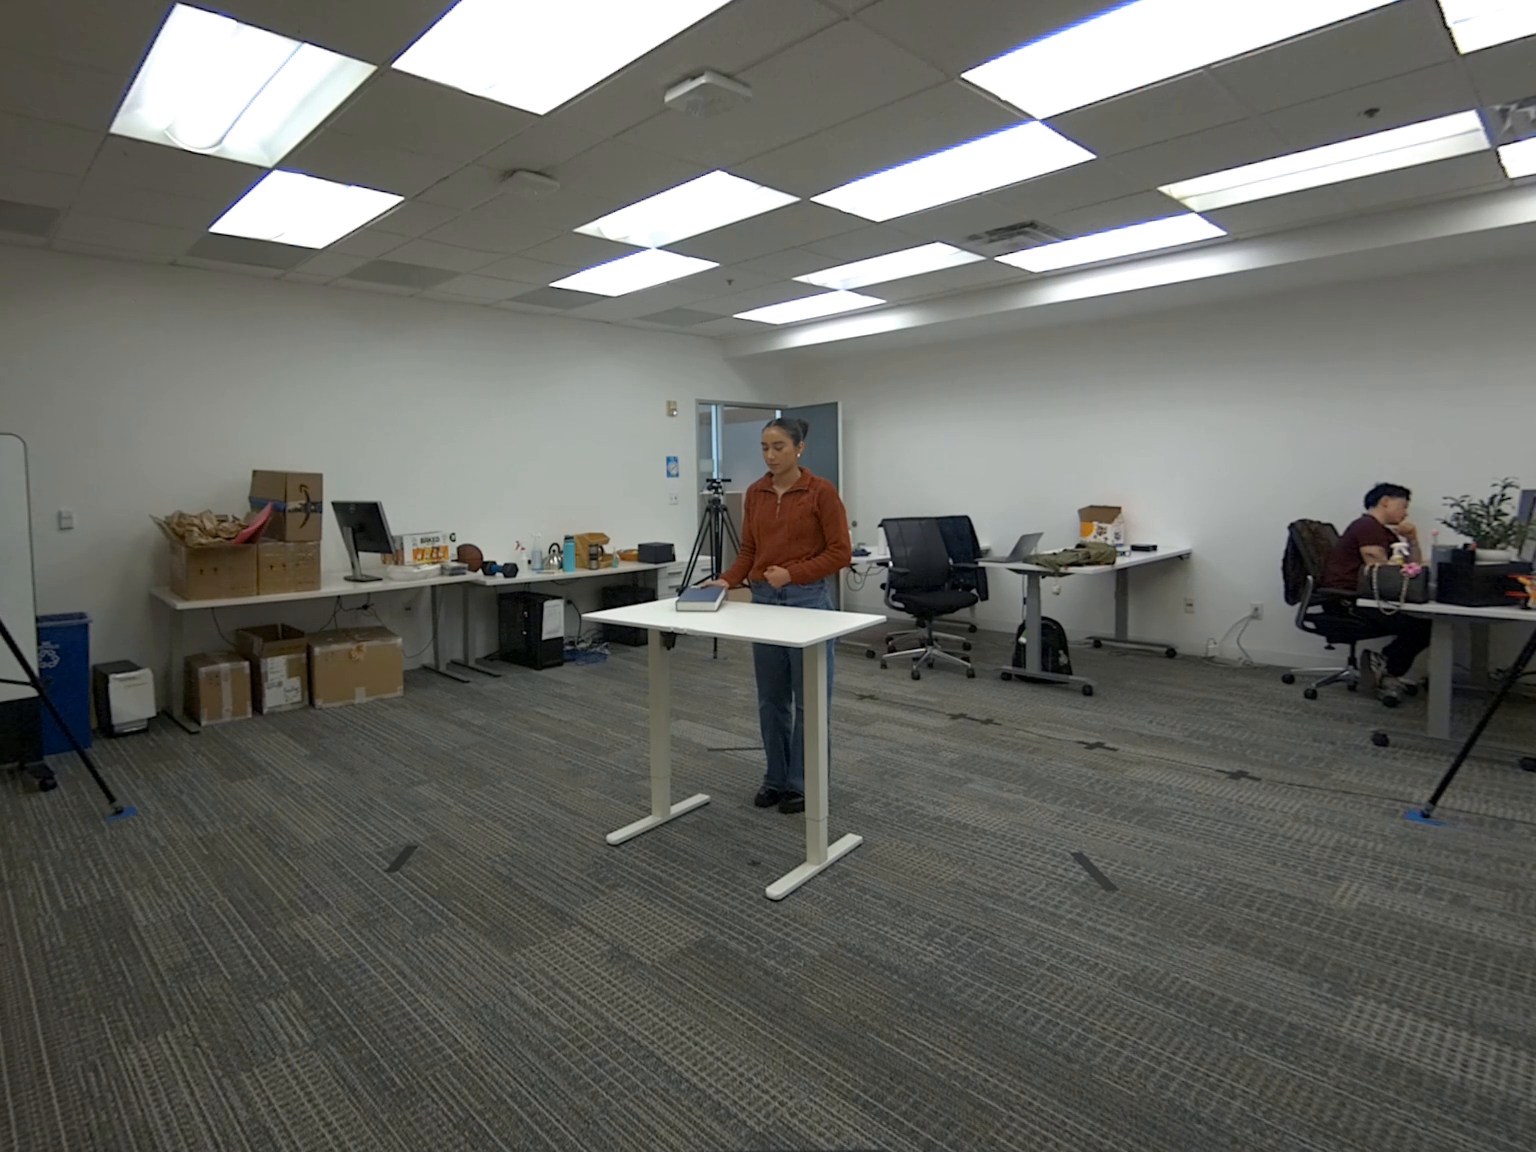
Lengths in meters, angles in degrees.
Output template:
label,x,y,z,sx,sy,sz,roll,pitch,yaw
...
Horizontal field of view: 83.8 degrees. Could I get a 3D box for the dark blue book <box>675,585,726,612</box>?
label,x,y,z,sx,sy,sz,roll,pitch,yaw
dark blue book,-0.264,0.088,3.441,0.164,0.044,0.246,-1,14,6
